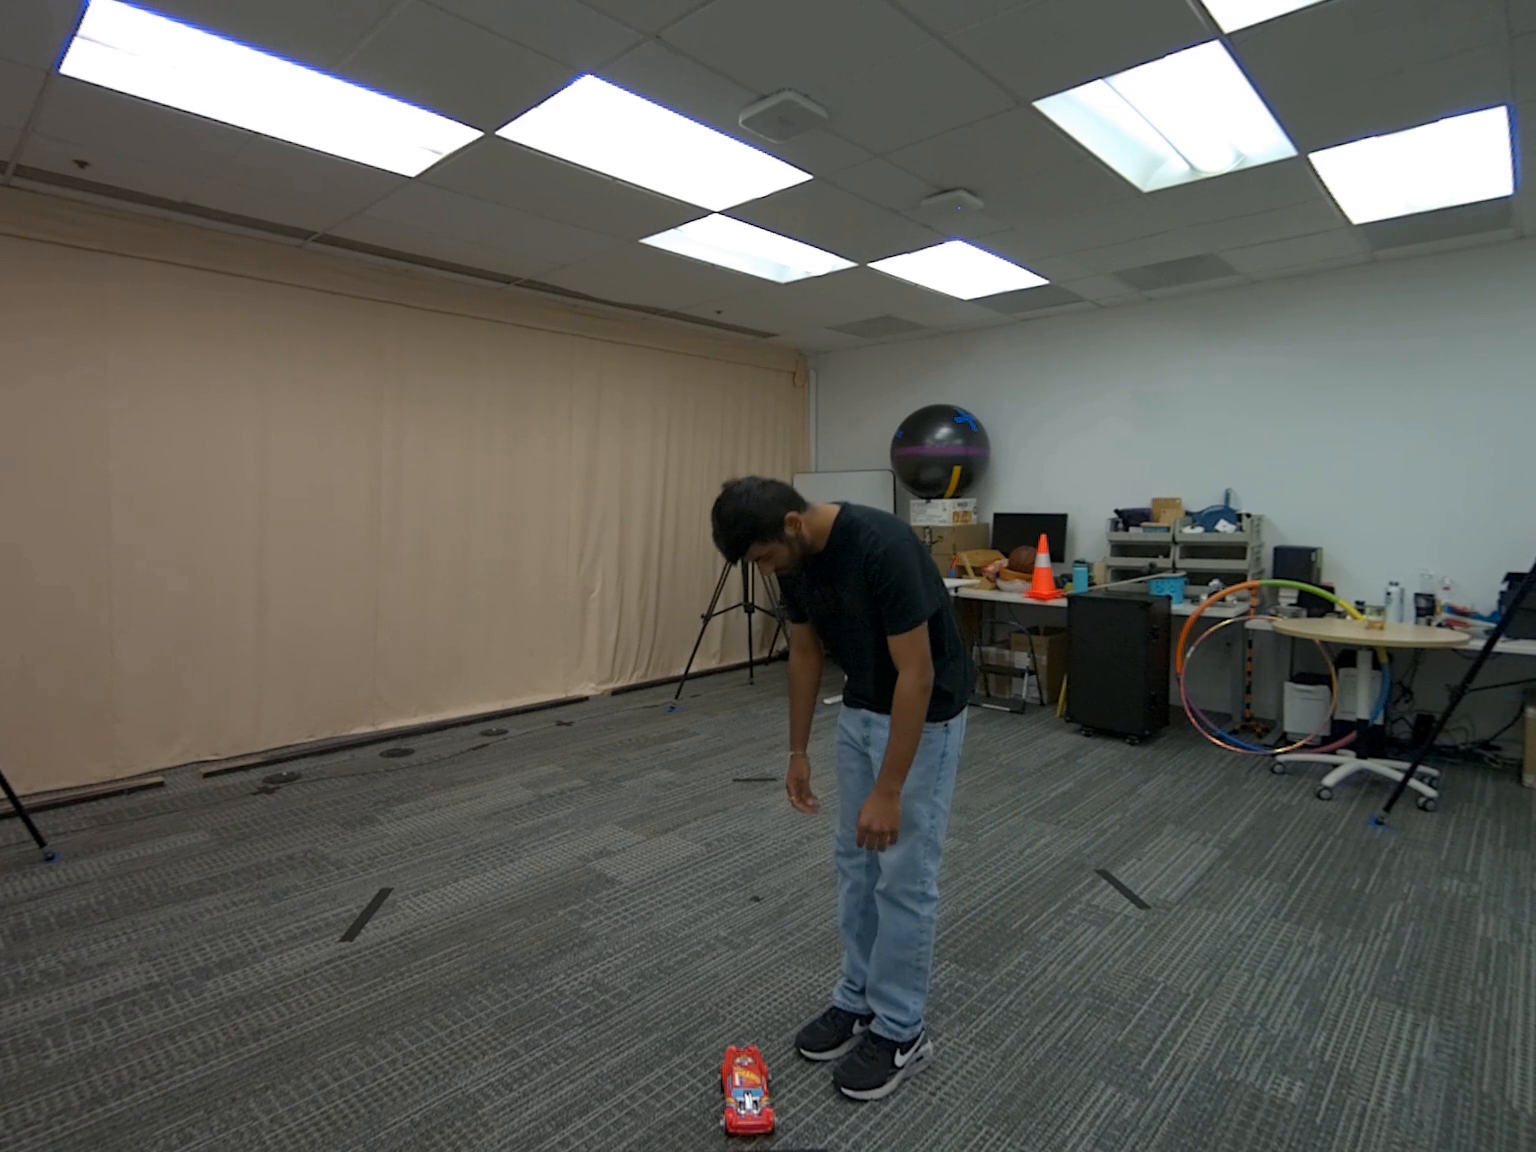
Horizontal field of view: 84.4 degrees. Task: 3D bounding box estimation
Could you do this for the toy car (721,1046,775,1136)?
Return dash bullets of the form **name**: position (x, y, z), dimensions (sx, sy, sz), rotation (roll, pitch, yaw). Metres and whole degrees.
- **toy car**: position (-0.046, 1.206, 1.954), dimensions (0.130, 0.082, 0.257), rotation (-1, 15, -2)
